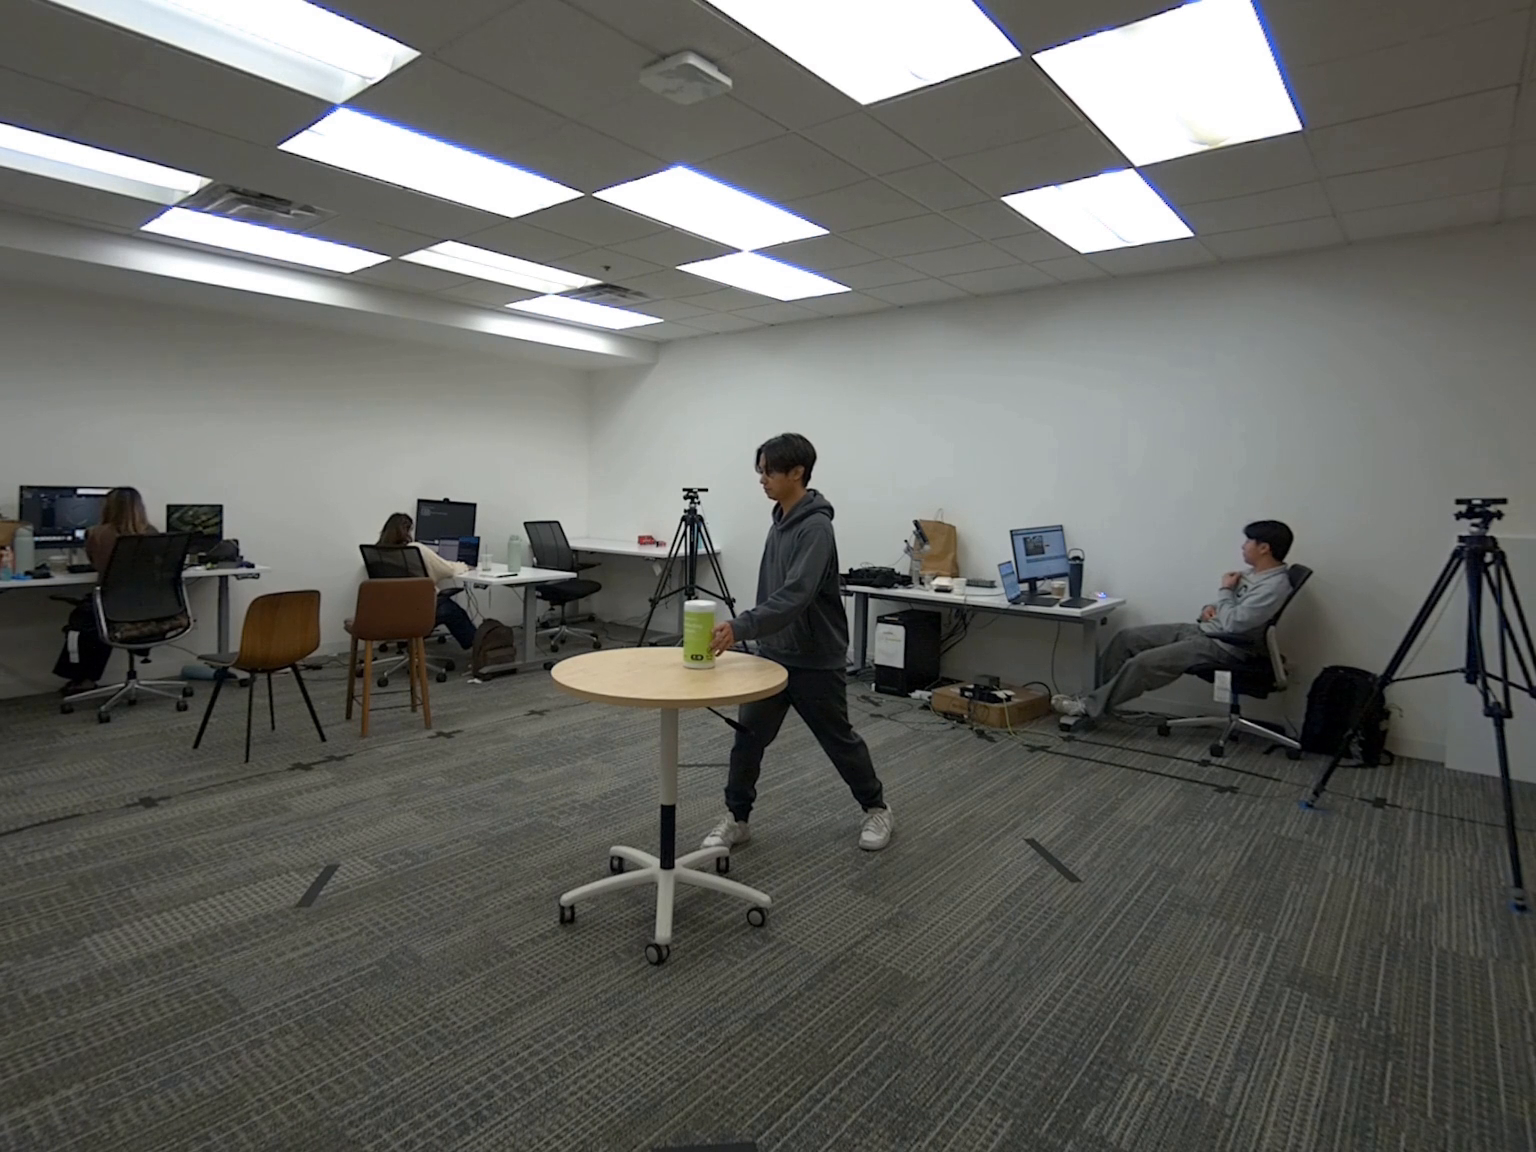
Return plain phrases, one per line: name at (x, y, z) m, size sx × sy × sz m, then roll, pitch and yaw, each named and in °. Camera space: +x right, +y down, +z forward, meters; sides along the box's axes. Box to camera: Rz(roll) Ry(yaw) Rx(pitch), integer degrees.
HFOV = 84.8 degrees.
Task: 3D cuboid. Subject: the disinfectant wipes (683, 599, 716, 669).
disinfectant wipes at (-0.234, 0.191, 2.831) m, size 0.118 × 0.217 × 0.118 m, roll 0°, pitch 3°, yaw -2°
